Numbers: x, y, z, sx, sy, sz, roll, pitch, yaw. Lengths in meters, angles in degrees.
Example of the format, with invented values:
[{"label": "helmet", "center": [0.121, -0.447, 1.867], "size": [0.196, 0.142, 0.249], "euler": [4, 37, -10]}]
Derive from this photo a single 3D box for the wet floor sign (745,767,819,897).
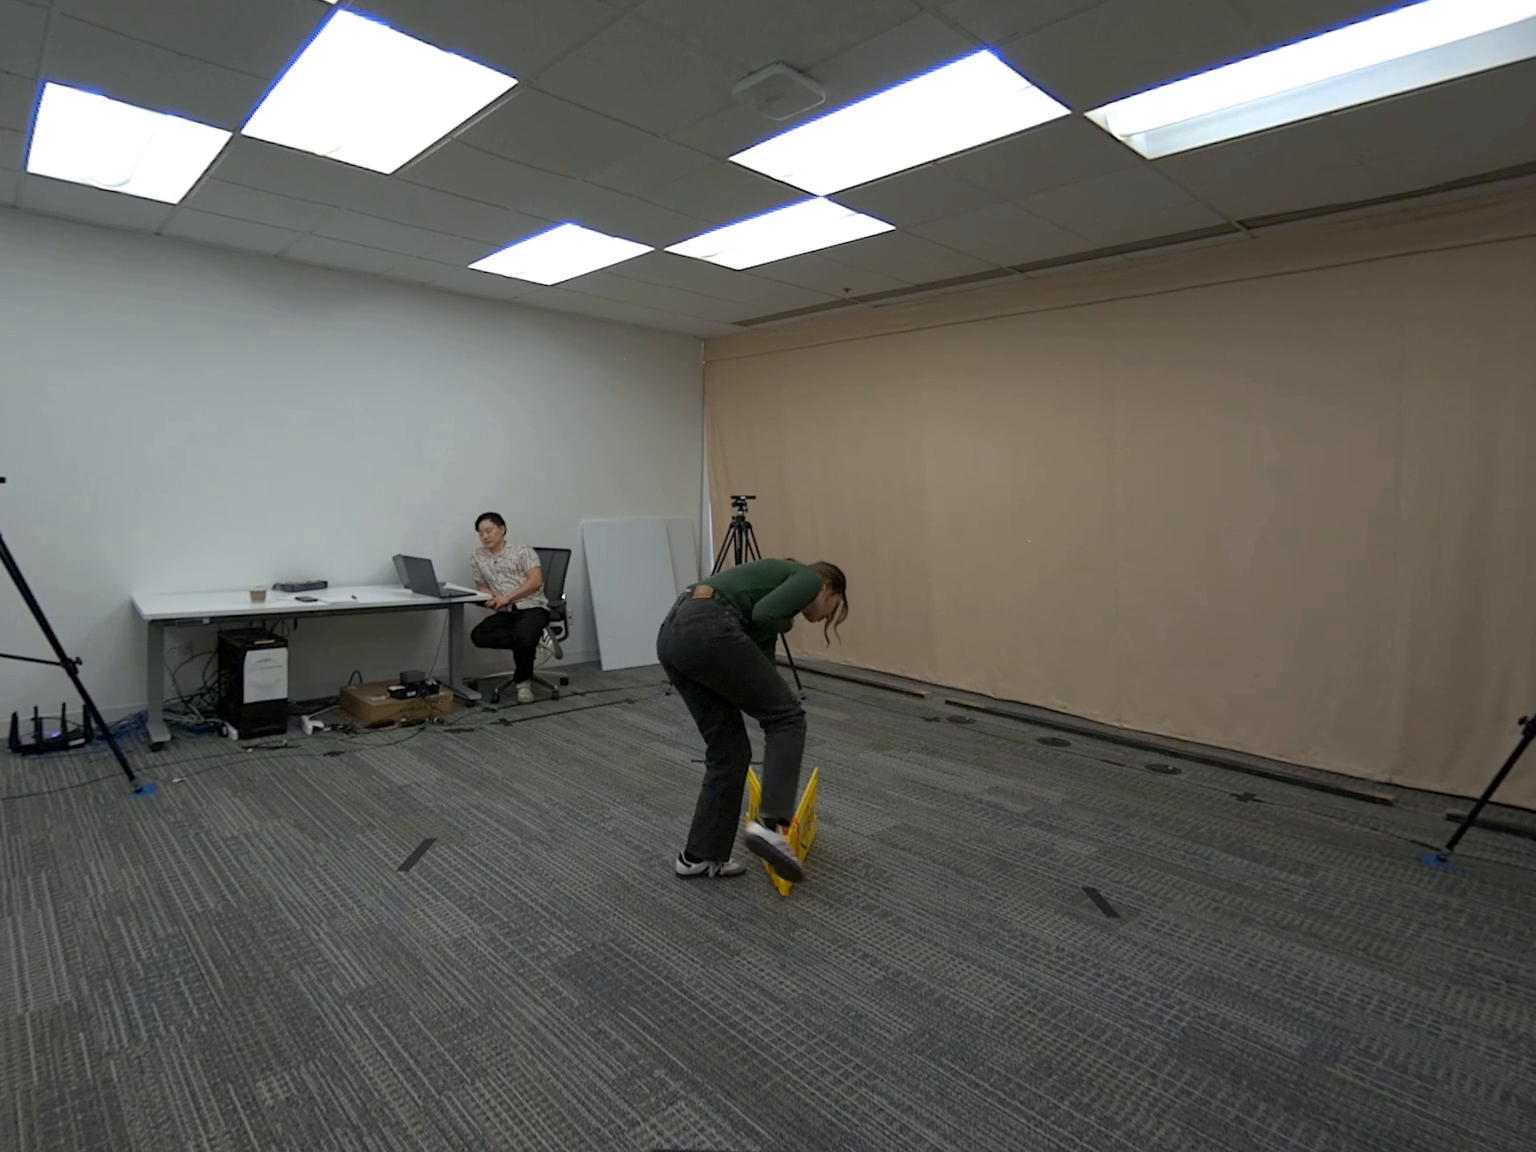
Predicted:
[{"label": "wet floor sign", "center": [0.055, 0.965, 3.199], "size": [0.290, 0.281, 0.649], "euler": [1, 7, -1]}]
